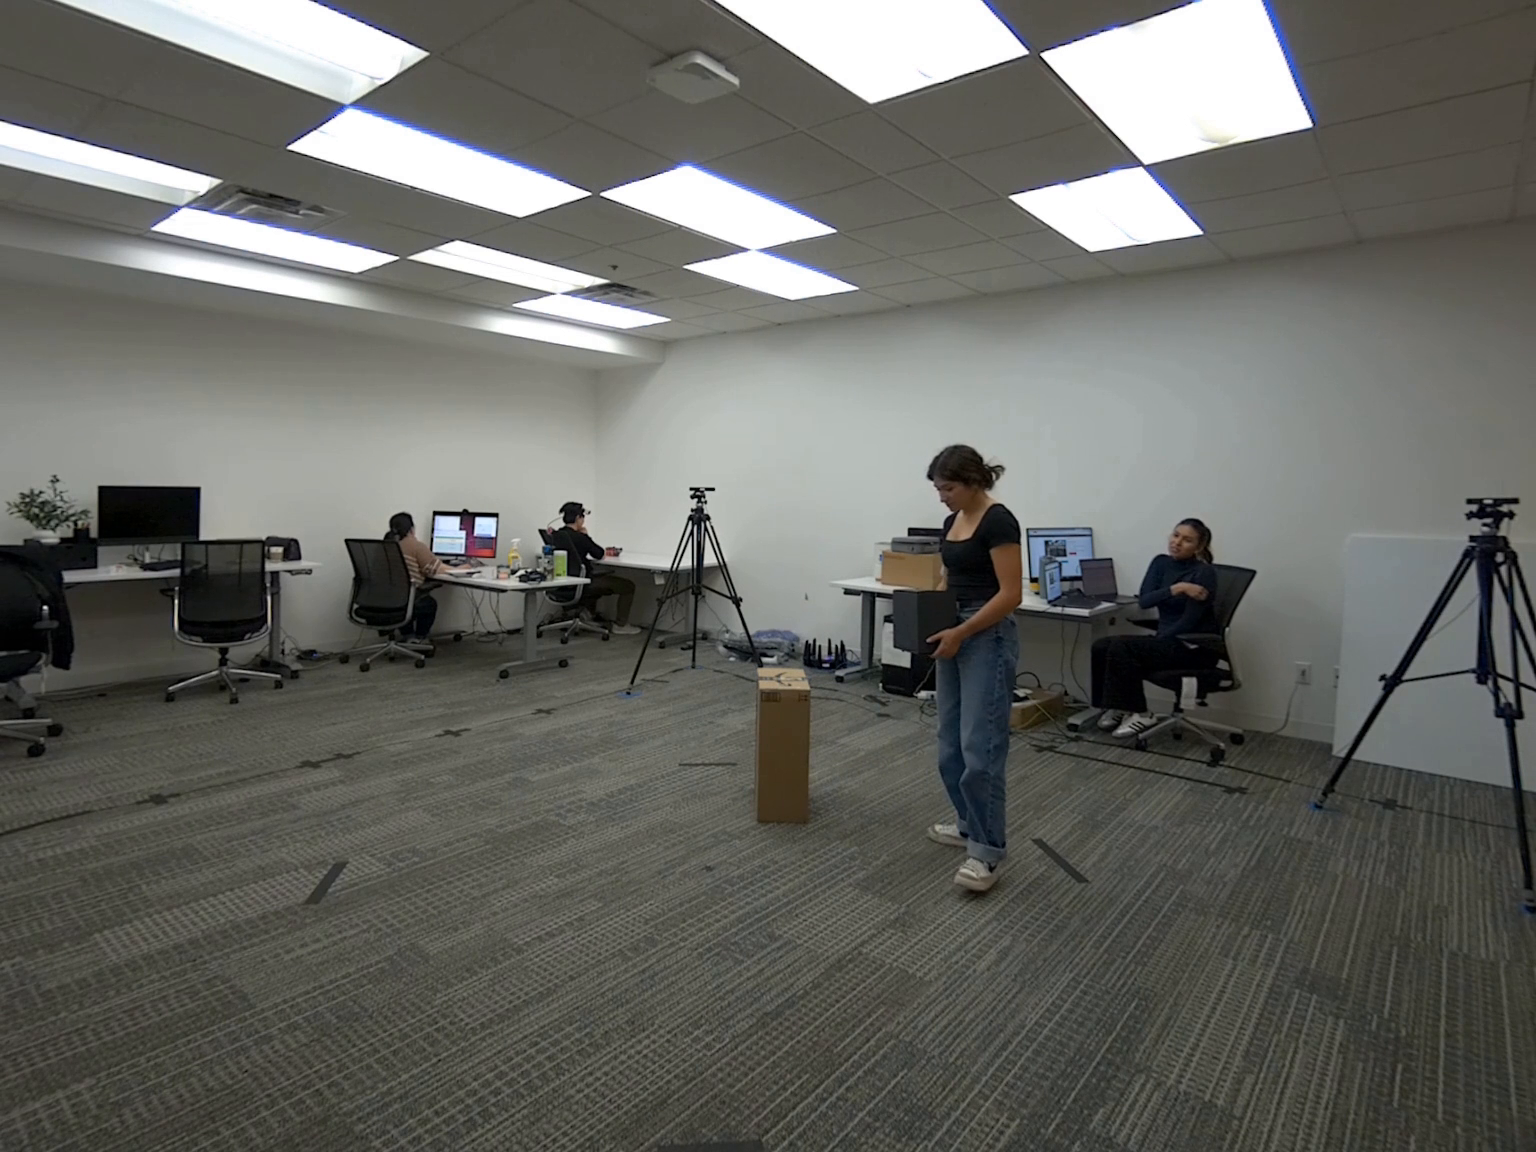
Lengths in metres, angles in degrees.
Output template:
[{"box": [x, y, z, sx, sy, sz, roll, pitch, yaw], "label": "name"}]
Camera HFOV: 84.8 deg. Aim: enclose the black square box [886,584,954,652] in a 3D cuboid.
[{"box": [0.578, 0.153, 3.199, 0.154, 0.228, 0.219, -5, 0, -13], "label": "black square box"}]
